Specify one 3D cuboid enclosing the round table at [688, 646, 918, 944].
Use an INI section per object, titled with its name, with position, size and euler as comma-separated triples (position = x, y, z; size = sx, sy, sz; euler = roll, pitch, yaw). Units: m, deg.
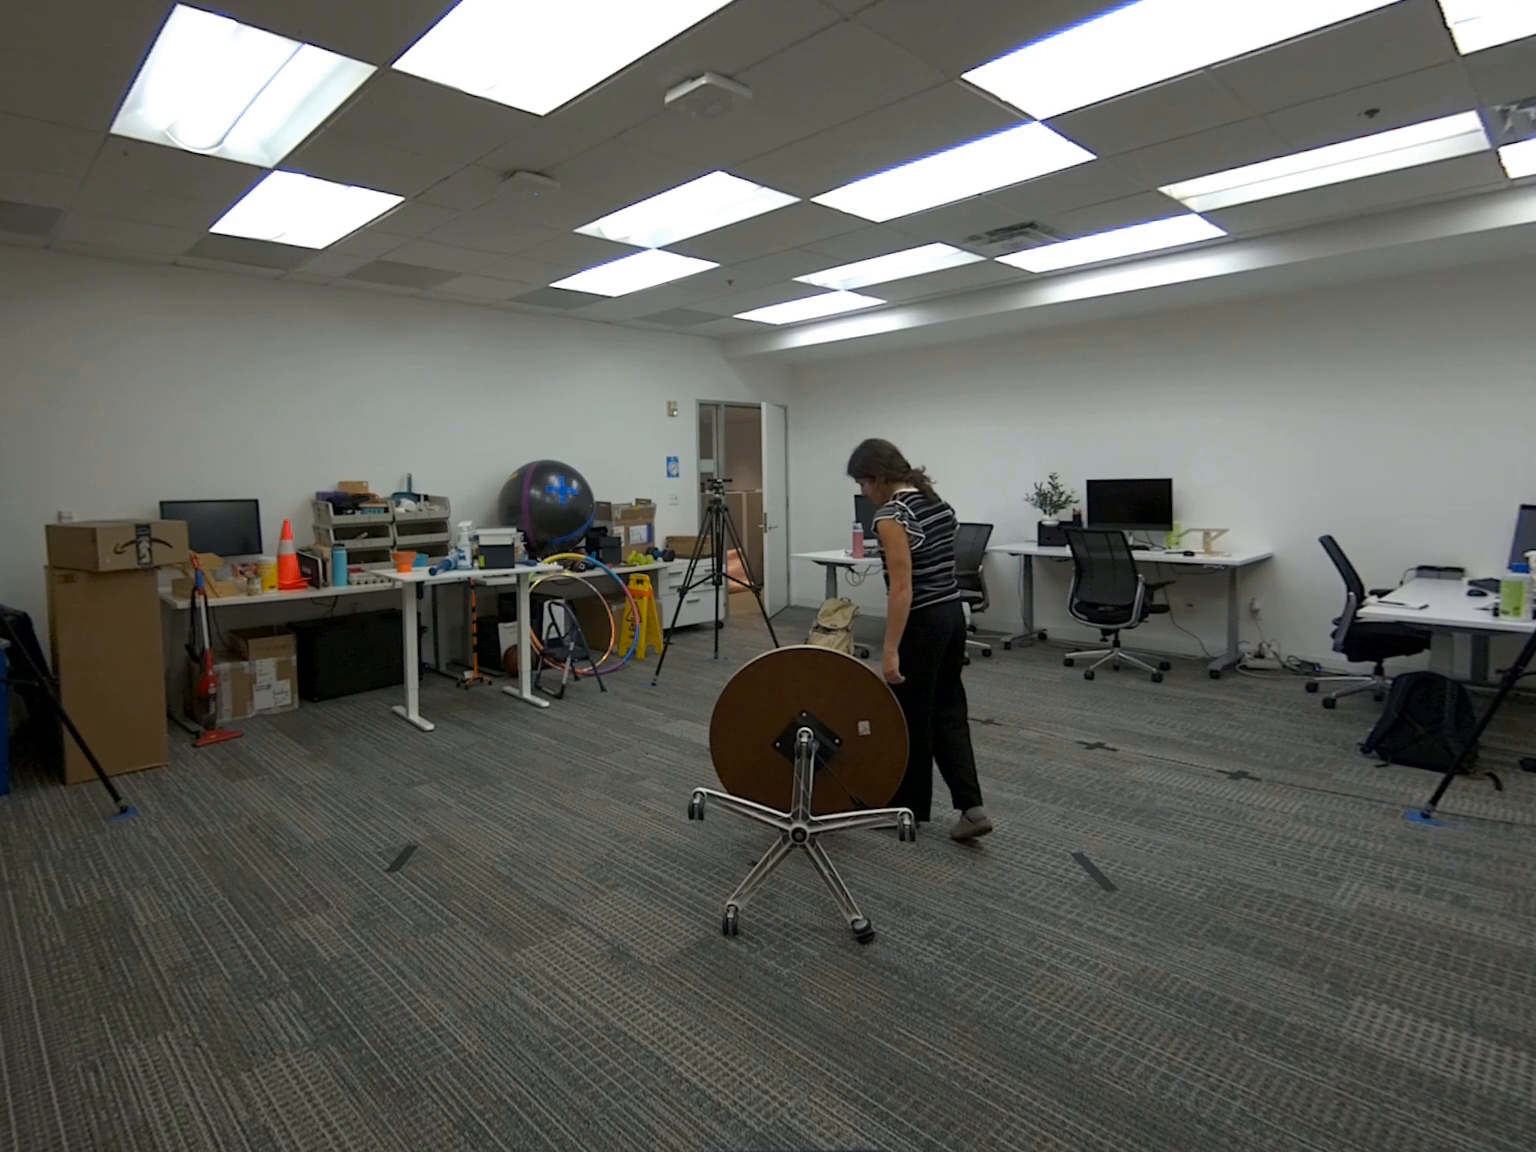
[round table]
position = 0.126, 0.726, 2.913
size = 0.791, 0.777, 0.788
euler = 0, 11, 7
